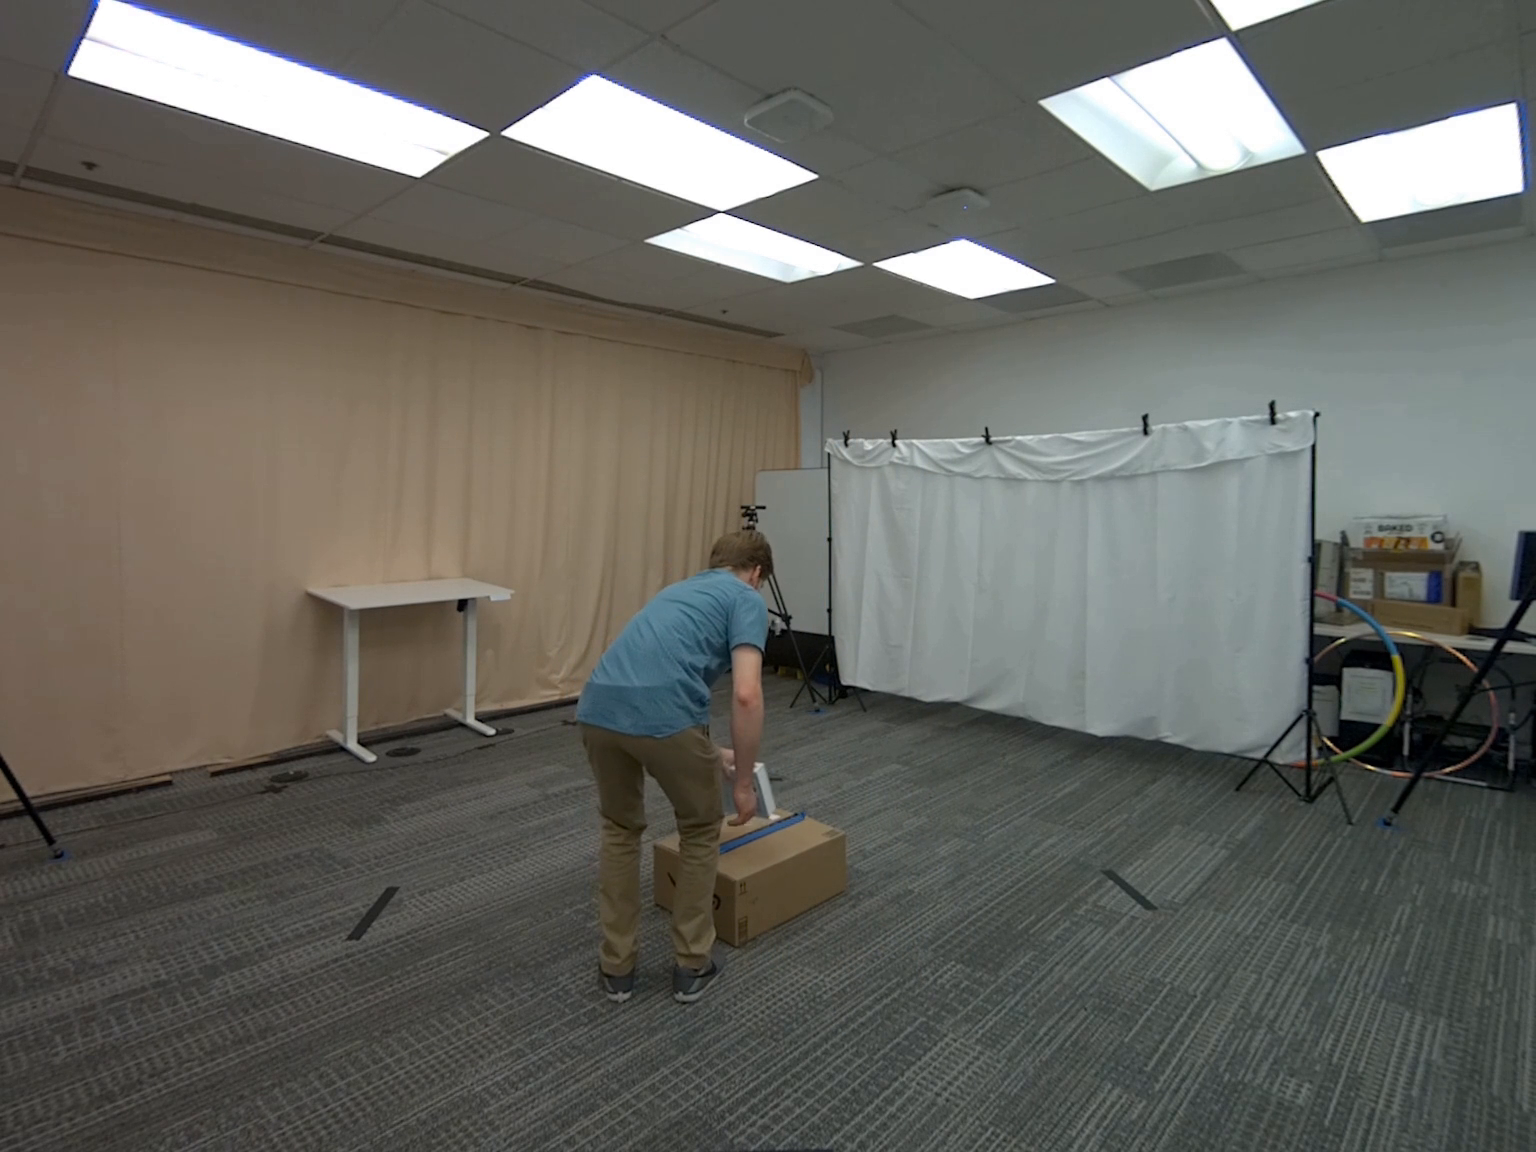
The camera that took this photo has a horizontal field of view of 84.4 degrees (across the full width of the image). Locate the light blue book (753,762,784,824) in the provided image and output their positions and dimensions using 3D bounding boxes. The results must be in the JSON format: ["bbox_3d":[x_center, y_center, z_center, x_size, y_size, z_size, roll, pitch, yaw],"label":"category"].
[{"bbox_3d":[-0.112,0.740,2.932,0.268,0.189,0.058,-3,18,34],"label":"light blue book"}]
